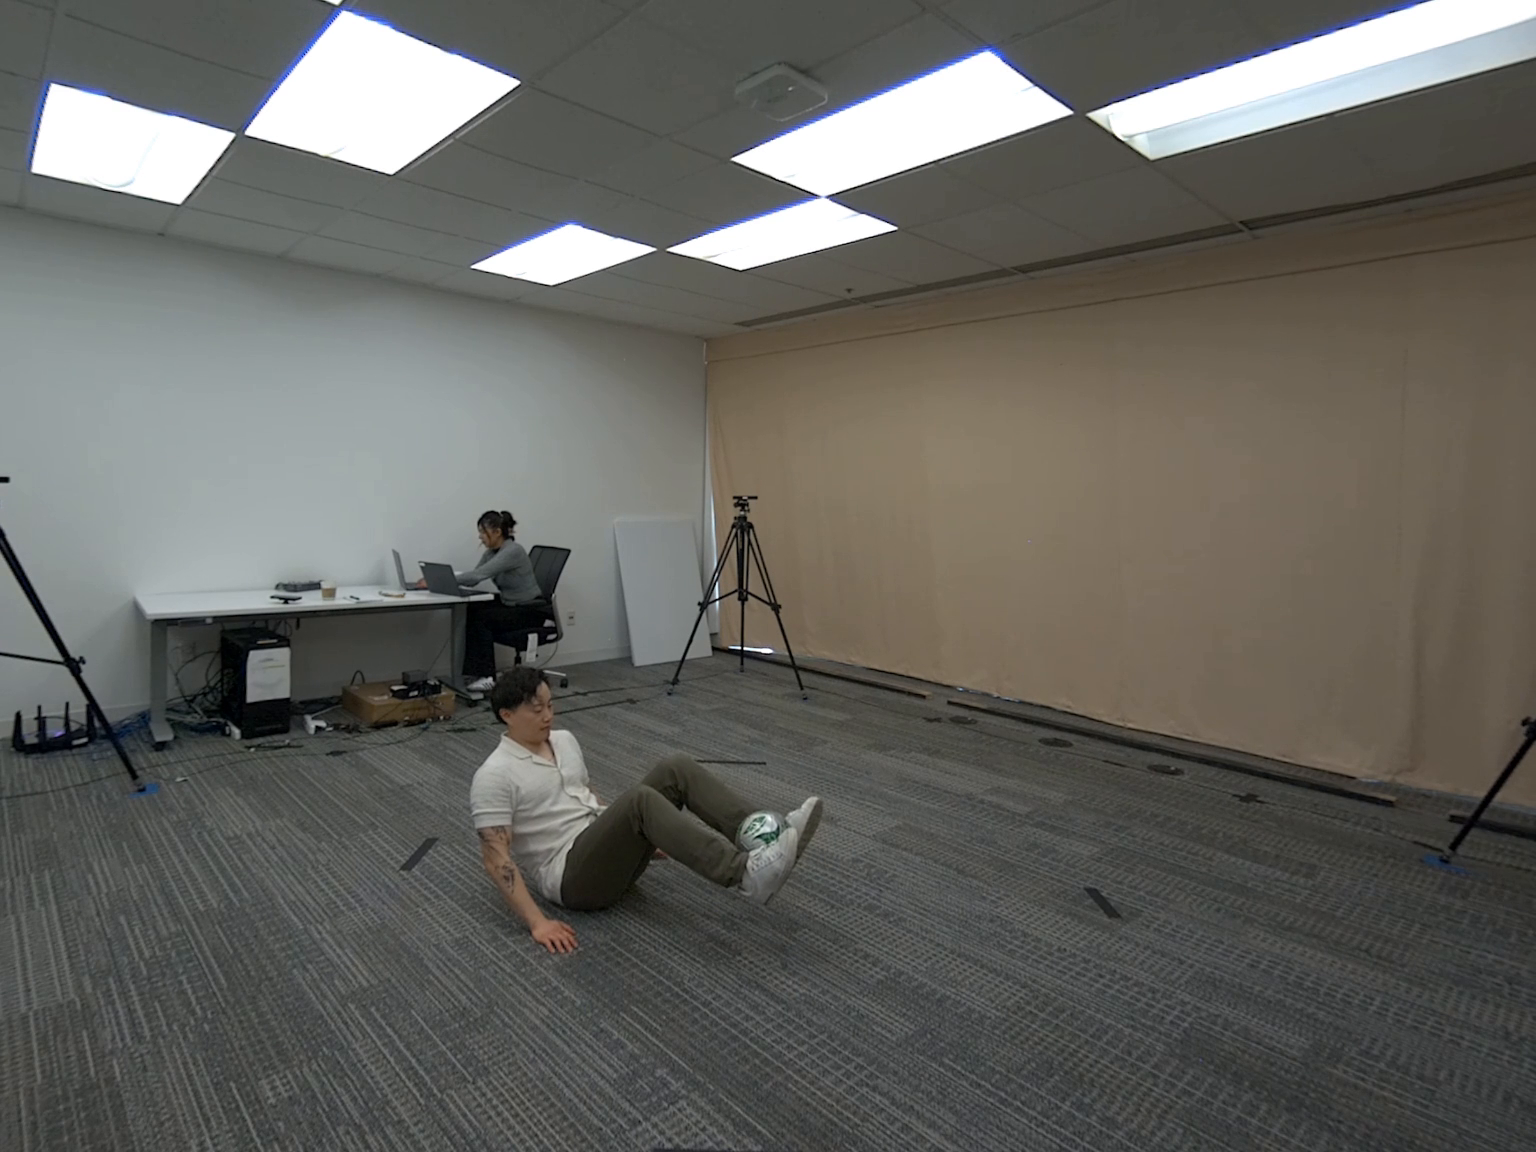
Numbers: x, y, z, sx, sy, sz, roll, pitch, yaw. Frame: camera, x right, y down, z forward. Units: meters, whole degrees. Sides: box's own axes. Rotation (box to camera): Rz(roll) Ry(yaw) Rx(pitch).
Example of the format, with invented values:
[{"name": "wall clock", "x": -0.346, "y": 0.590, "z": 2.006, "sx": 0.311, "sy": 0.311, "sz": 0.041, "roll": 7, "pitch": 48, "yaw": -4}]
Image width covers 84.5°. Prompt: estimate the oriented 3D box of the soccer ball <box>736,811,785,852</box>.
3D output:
[{"name": "soccer ball", "x": -0.018, "y": 0.841, "z": 2.645, "sx": 0.187, "sy": 0.187, "sz": 0.188, "roll": 1, "pitch": 4, "yaw": -1}]
